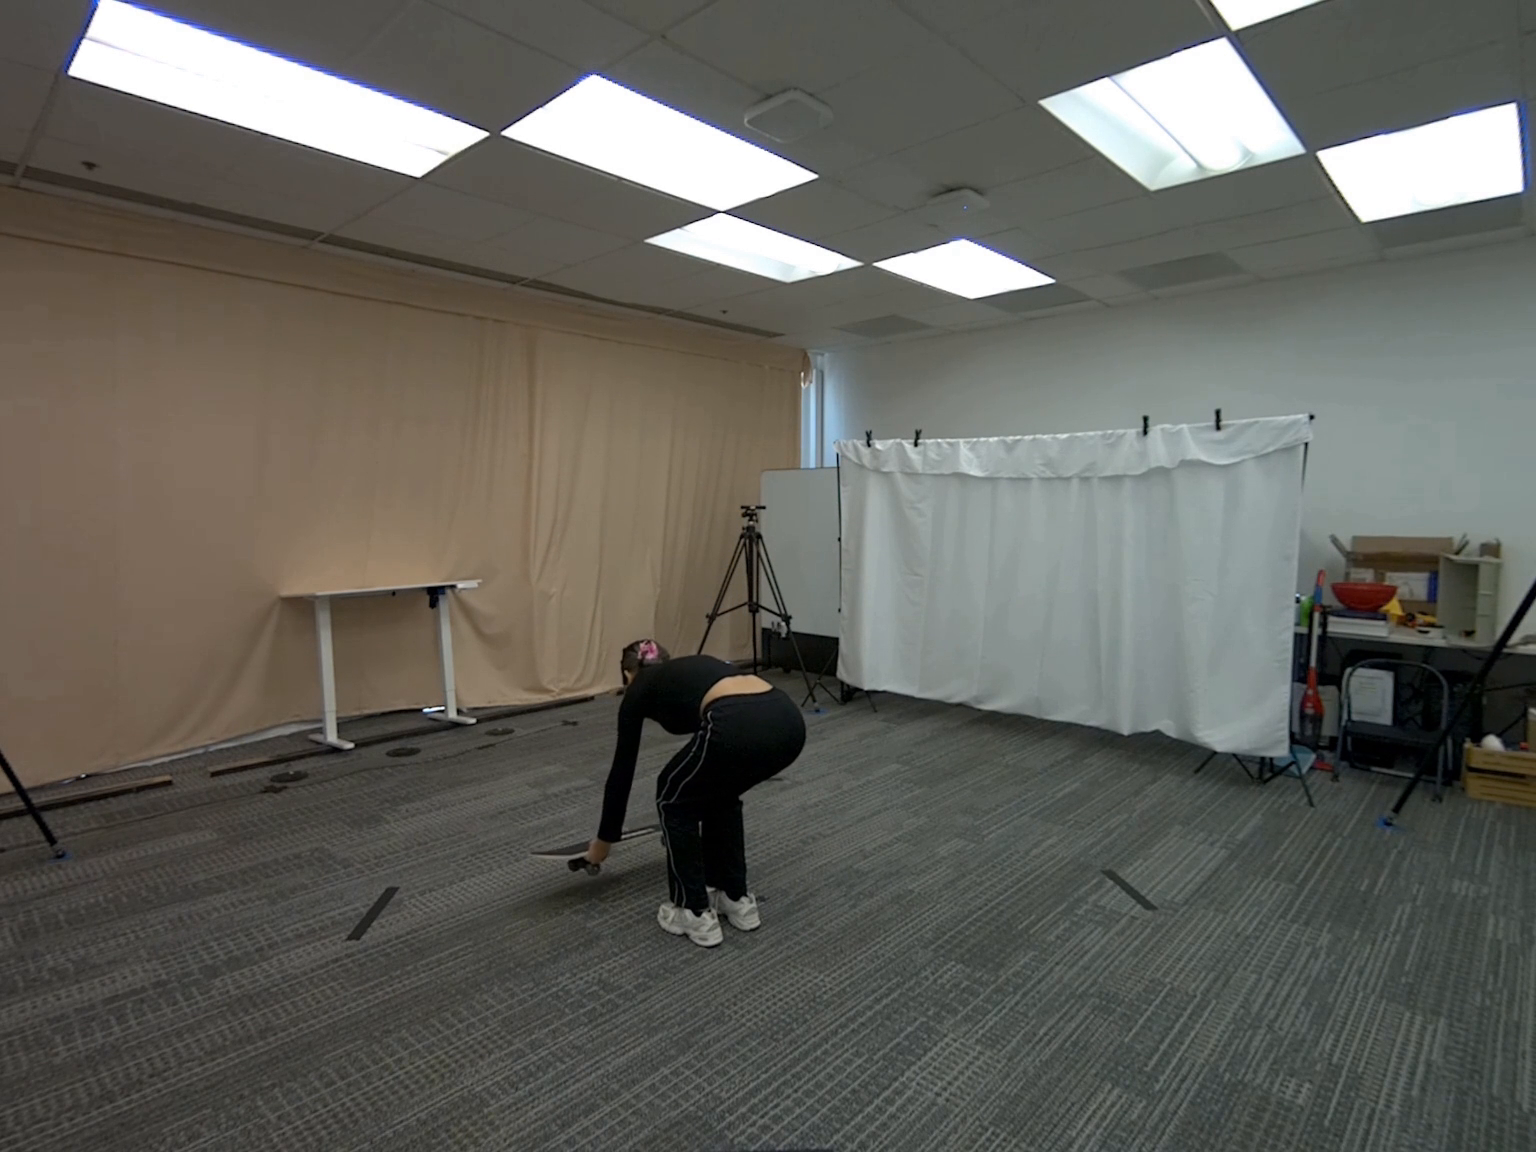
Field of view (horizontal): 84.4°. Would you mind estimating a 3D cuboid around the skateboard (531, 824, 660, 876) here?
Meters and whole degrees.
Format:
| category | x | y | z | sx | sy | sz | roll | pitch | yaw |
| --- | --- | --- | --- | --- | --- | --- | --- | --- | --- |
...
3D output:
| category | x | y | z | sx | sy | sz | roll | pitch | yaw |
| --- | --- | --- | --- | --- | --- | --- | --- | --- | --- |
| skateboard | -0.515 | 0.999 | 3.143 | 0.762 | 0.111 | 0.198 | -3 | -10 | -36 |
